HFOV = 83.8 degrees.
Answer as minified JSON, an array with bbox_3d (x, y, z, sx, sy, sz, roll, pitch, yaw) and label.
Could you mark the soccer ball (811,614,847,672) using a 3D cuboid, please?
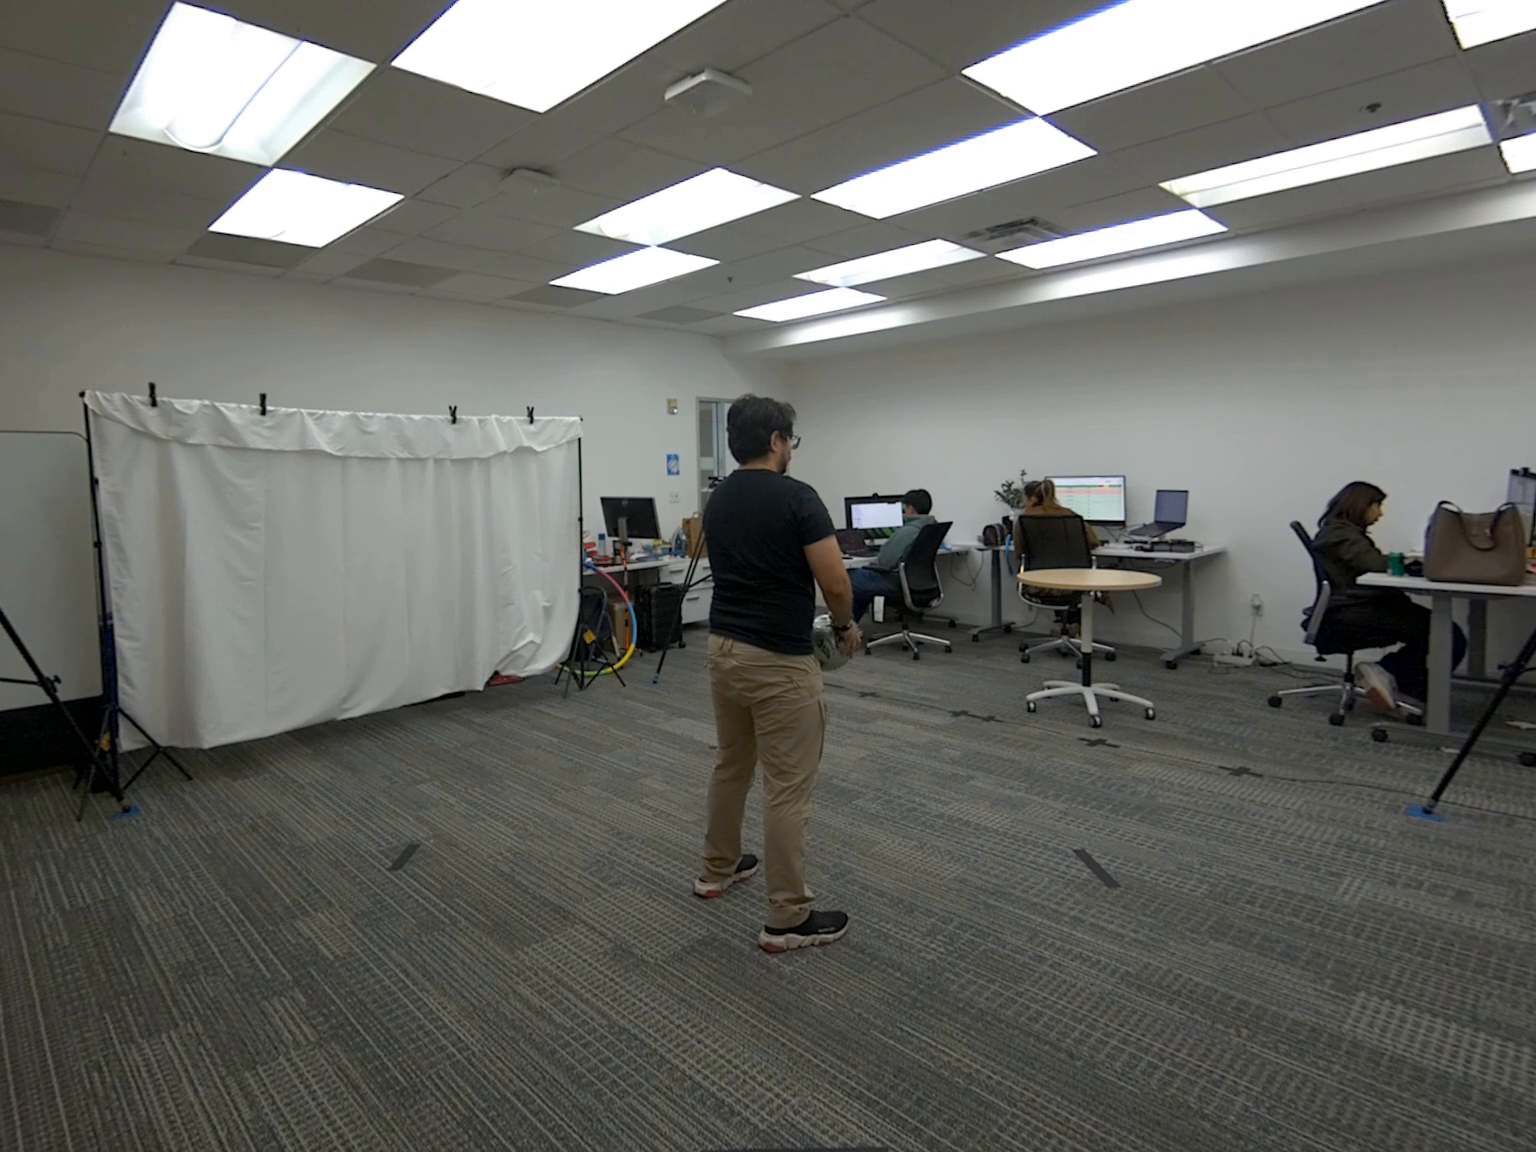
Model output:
[{"bbox_3d":[0.197,0.223,2.881,0.187,0.187,0.188,-1,5,-2],"label":"soccer ball"}]
